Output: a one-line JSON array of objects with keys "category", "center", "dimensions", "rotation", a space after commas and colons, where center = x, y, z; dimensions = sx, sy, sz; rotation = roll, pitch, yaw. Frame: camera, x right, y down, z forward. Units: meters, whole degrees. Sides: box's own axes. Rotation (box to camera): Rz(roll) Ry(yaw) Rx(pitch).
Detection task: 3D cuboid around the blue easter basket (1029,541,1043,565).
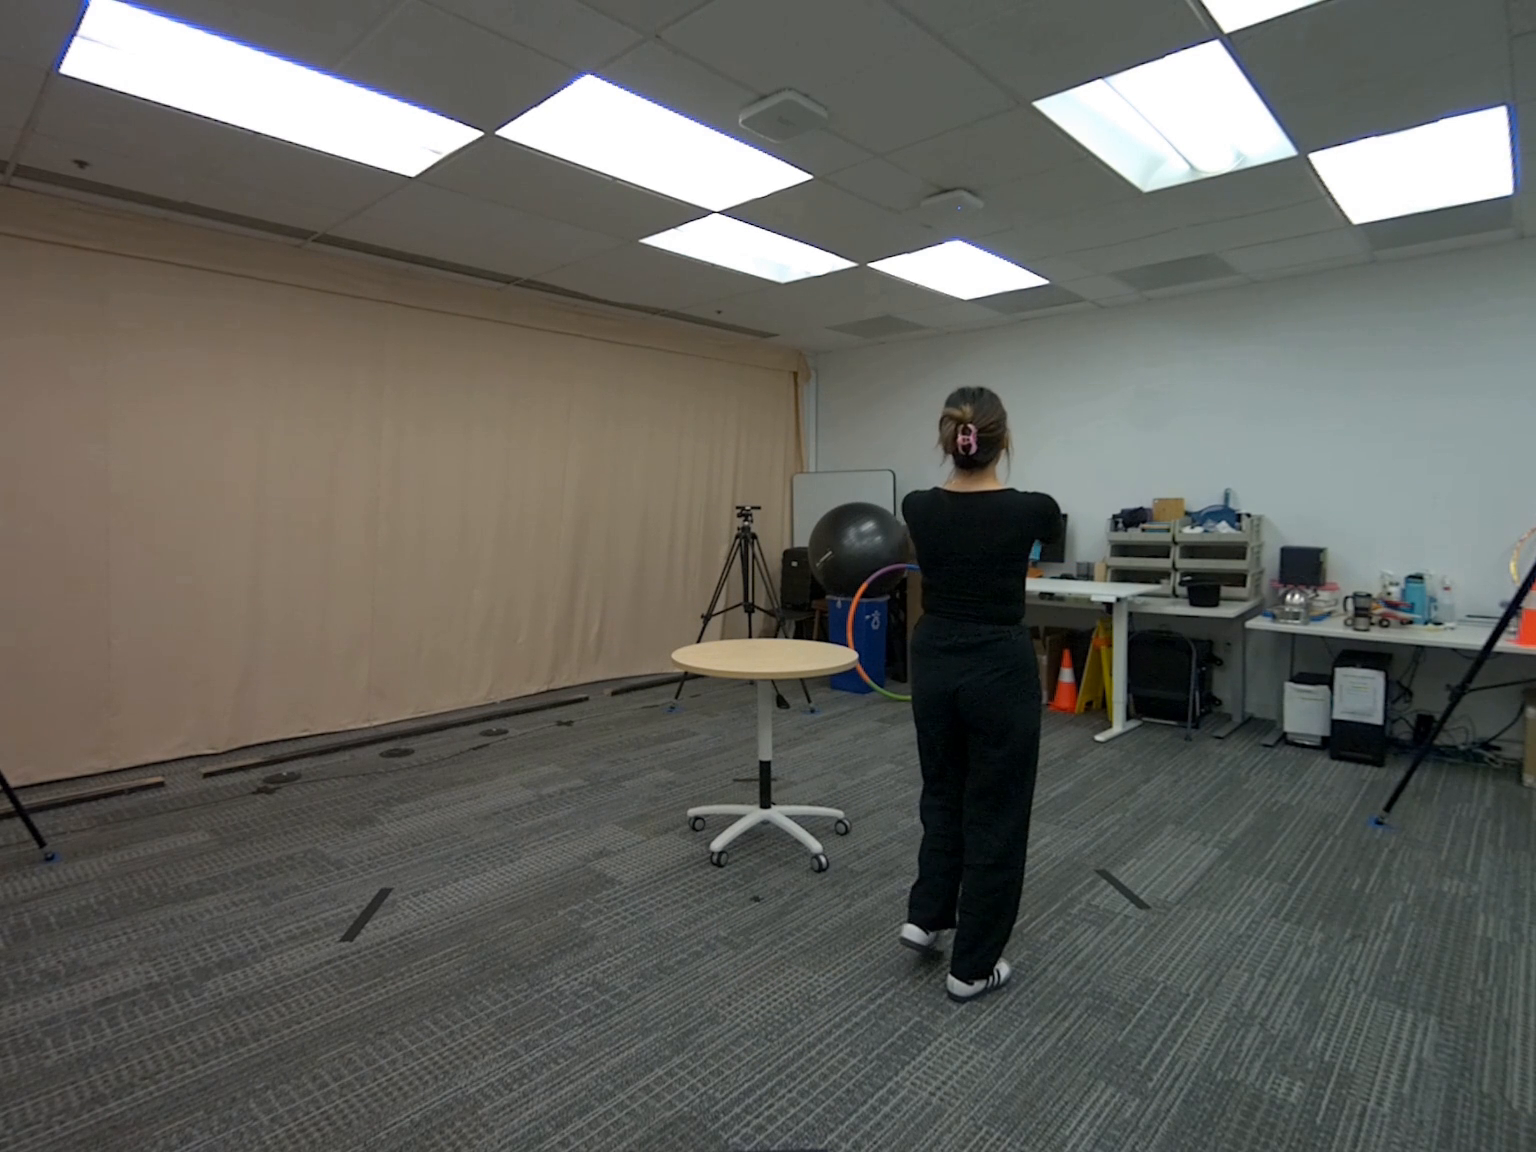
[{"category": "blue easter basket", "center": [0.867, -0.134, 2.933], "dimensions": [0.243, 0.156, 0.243], "rotation": [3, -3, -2]}]
